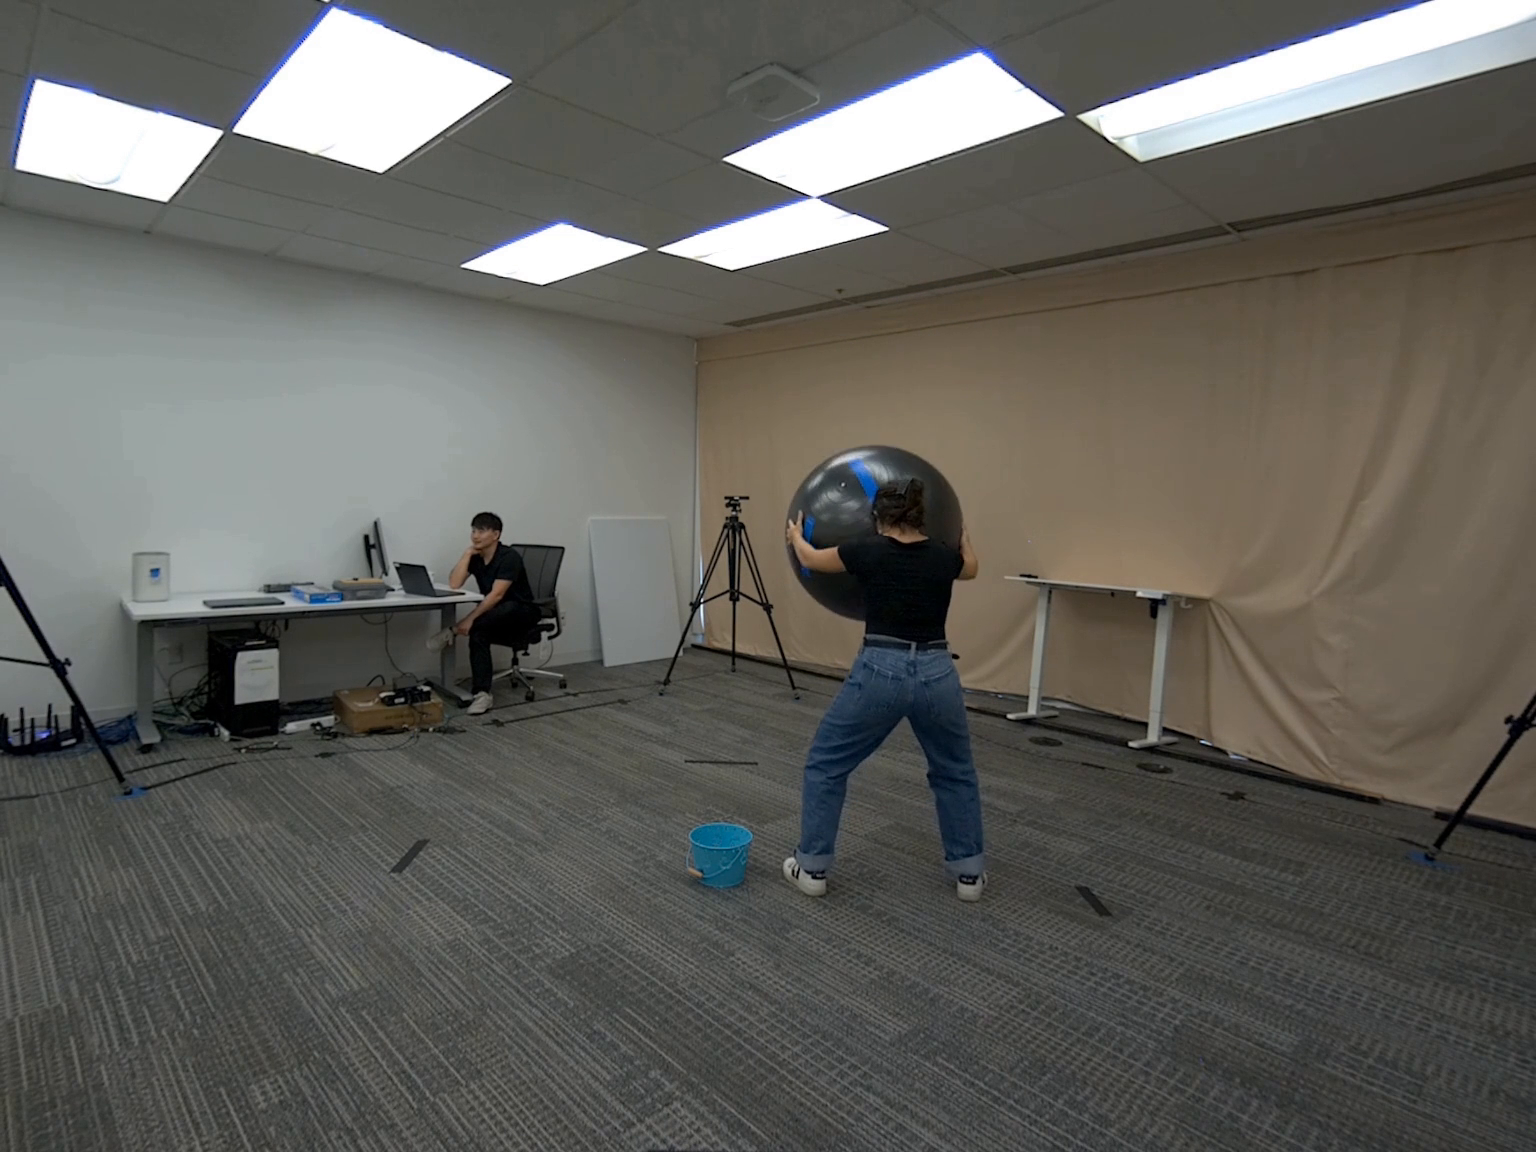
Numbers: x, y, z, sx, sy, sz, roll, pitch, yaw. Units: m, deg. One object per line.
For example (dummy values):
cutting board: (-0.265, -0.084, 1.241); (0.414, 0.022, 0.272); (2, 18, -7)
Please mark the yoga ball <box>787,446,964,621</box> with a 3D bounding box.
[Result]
yoga ball: (0.452, -0.179, 3.621); (0.757, 0.756, 0.760); (1, 4, -1)
